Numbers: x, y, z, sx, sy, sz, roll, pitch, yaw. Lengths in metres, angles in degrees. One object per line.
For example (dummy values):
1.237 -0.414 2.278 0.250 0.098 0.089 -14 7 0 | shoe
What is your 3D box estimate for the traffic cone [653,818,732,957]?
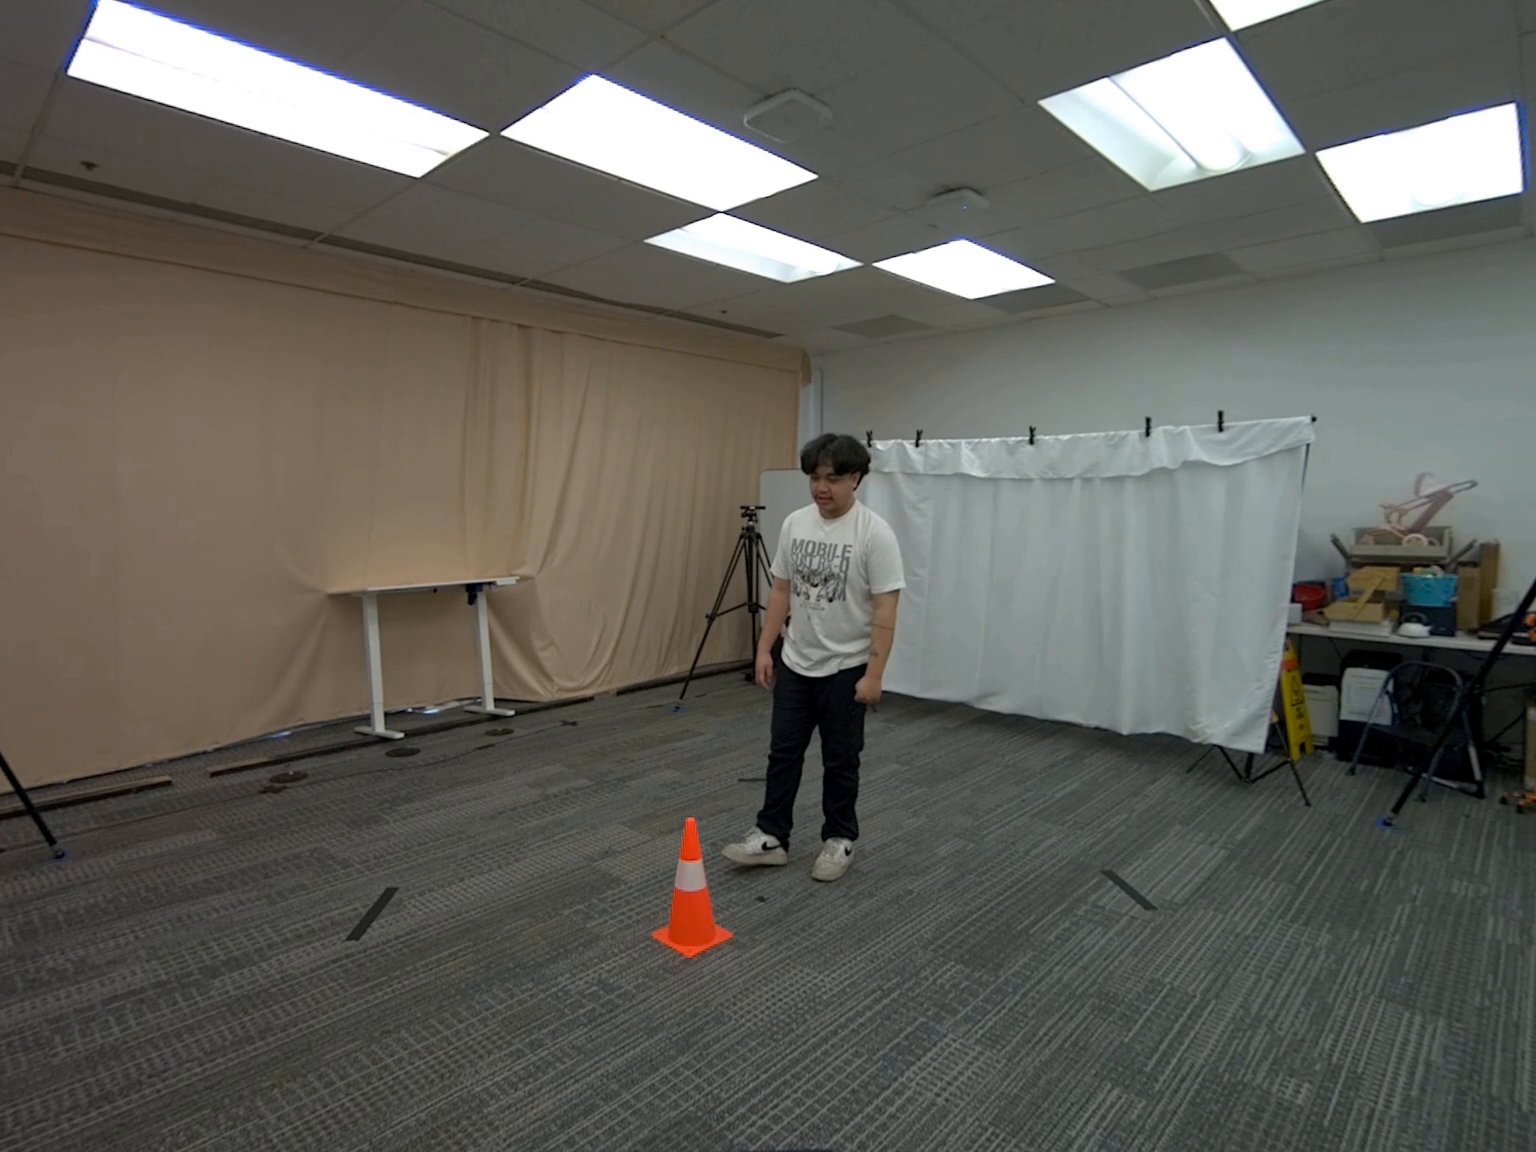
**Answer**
-0.243 0.979 2.721 0.198 0.383 0.210 -3 4 -43 | traffic cone
